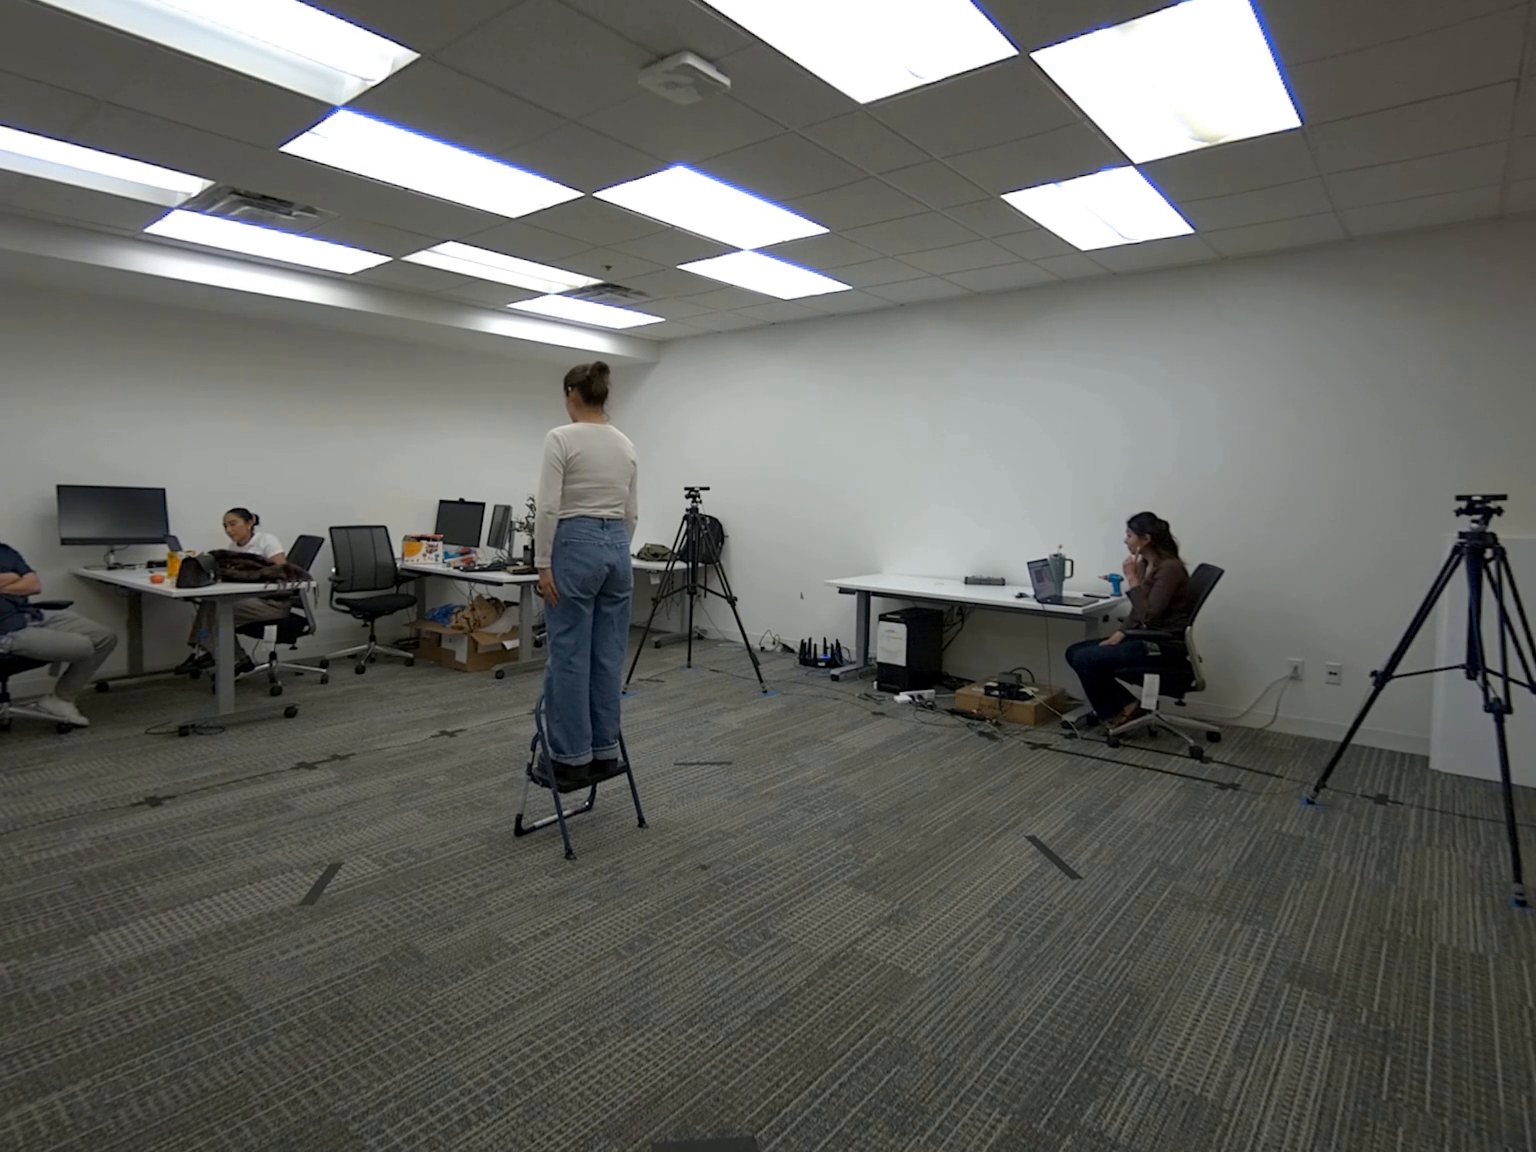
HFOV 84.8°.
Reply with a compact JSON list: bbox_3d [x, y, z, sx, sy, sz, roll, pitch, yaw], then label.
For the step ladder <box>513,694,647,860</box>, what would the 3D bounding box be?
[{"bbox_3d":[-0.760,0.726,3.422,0.360,0.605,0.418,2,3,36],"label":"step ladder"}]
